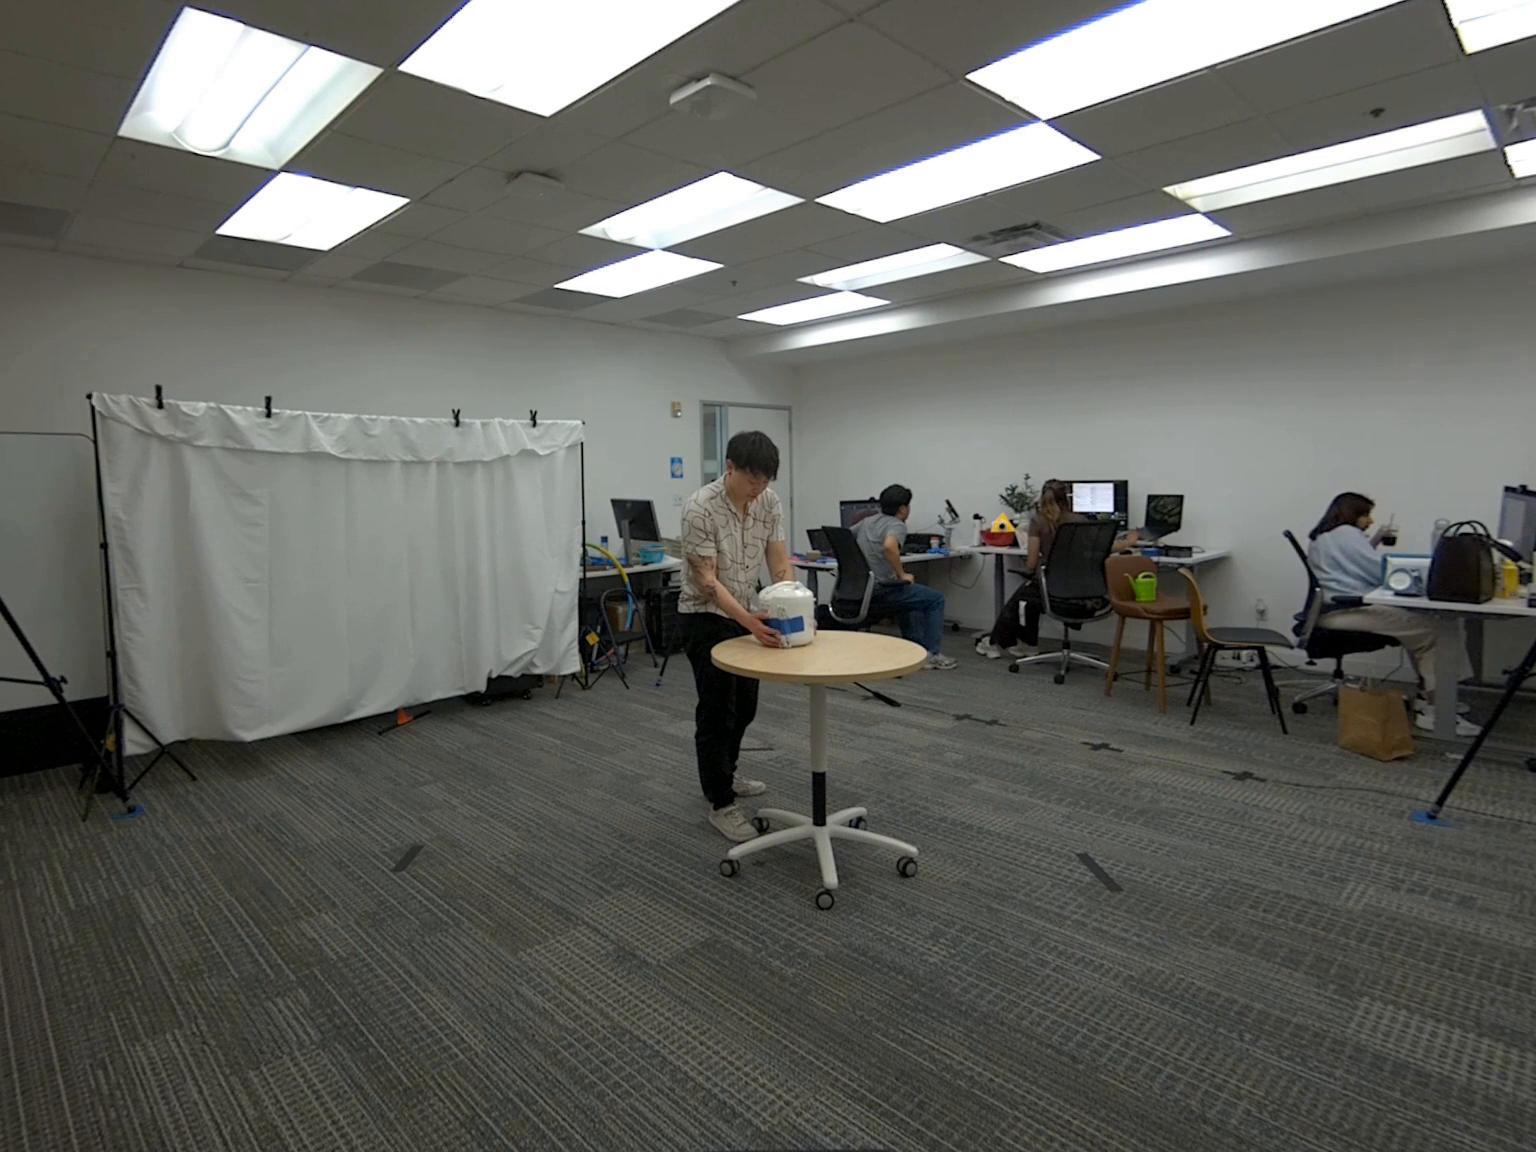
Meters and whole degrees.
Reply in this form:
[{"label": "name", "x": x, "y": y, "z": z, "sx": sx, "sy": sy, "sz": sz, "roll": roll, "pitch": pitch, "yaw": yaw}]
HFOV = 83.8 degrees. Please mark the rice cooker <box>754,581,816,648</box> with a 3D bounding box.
[{"label": "rice cooker", "x": 0.066, "y": 0.136, "z": 3.193, "sx": 0.215, "sy": 0.232, "sz": 0.224, "roll": -2, "pitch": 4, "yaw": -36}]
